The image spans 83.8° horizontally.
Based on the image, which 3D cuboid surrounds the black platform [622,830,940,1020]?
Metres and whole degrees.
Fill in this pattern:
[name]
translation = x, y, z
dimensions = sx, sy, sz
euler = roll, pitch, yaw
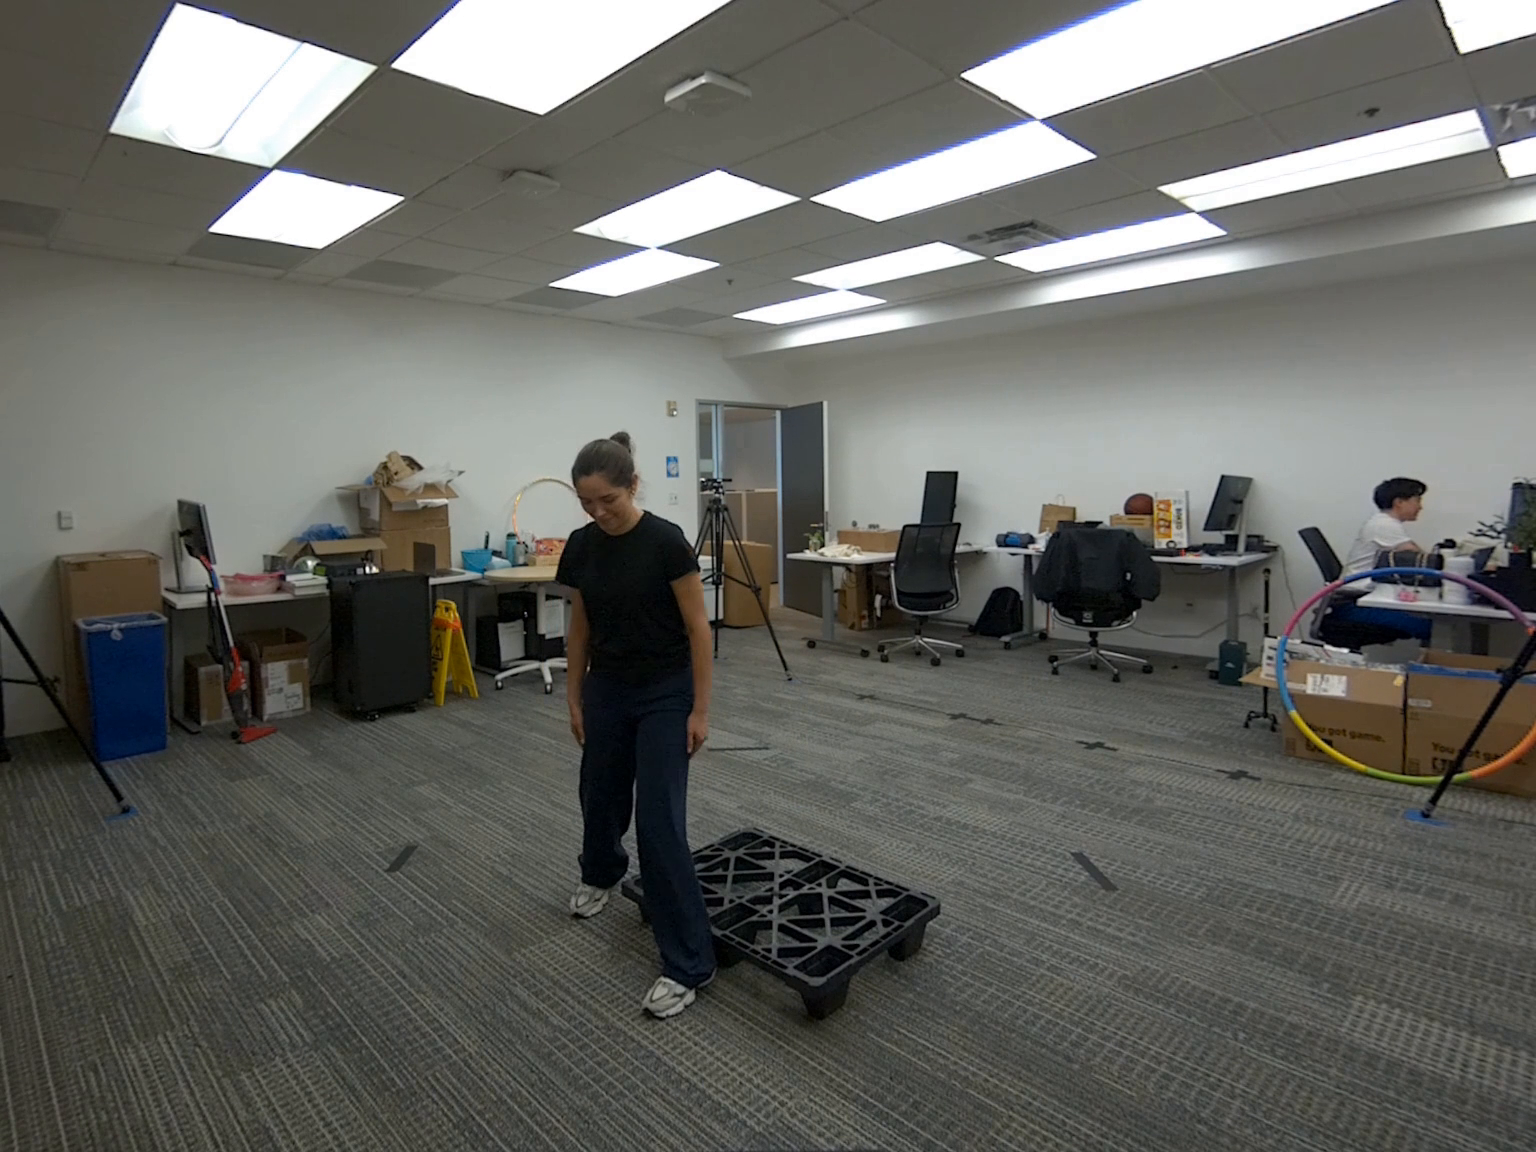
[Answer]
[black platform]
translation = 0.030, 1.031, 2.639
dimensions = 0.831, 0.143, 0.589
euler = 6, 9, 44
